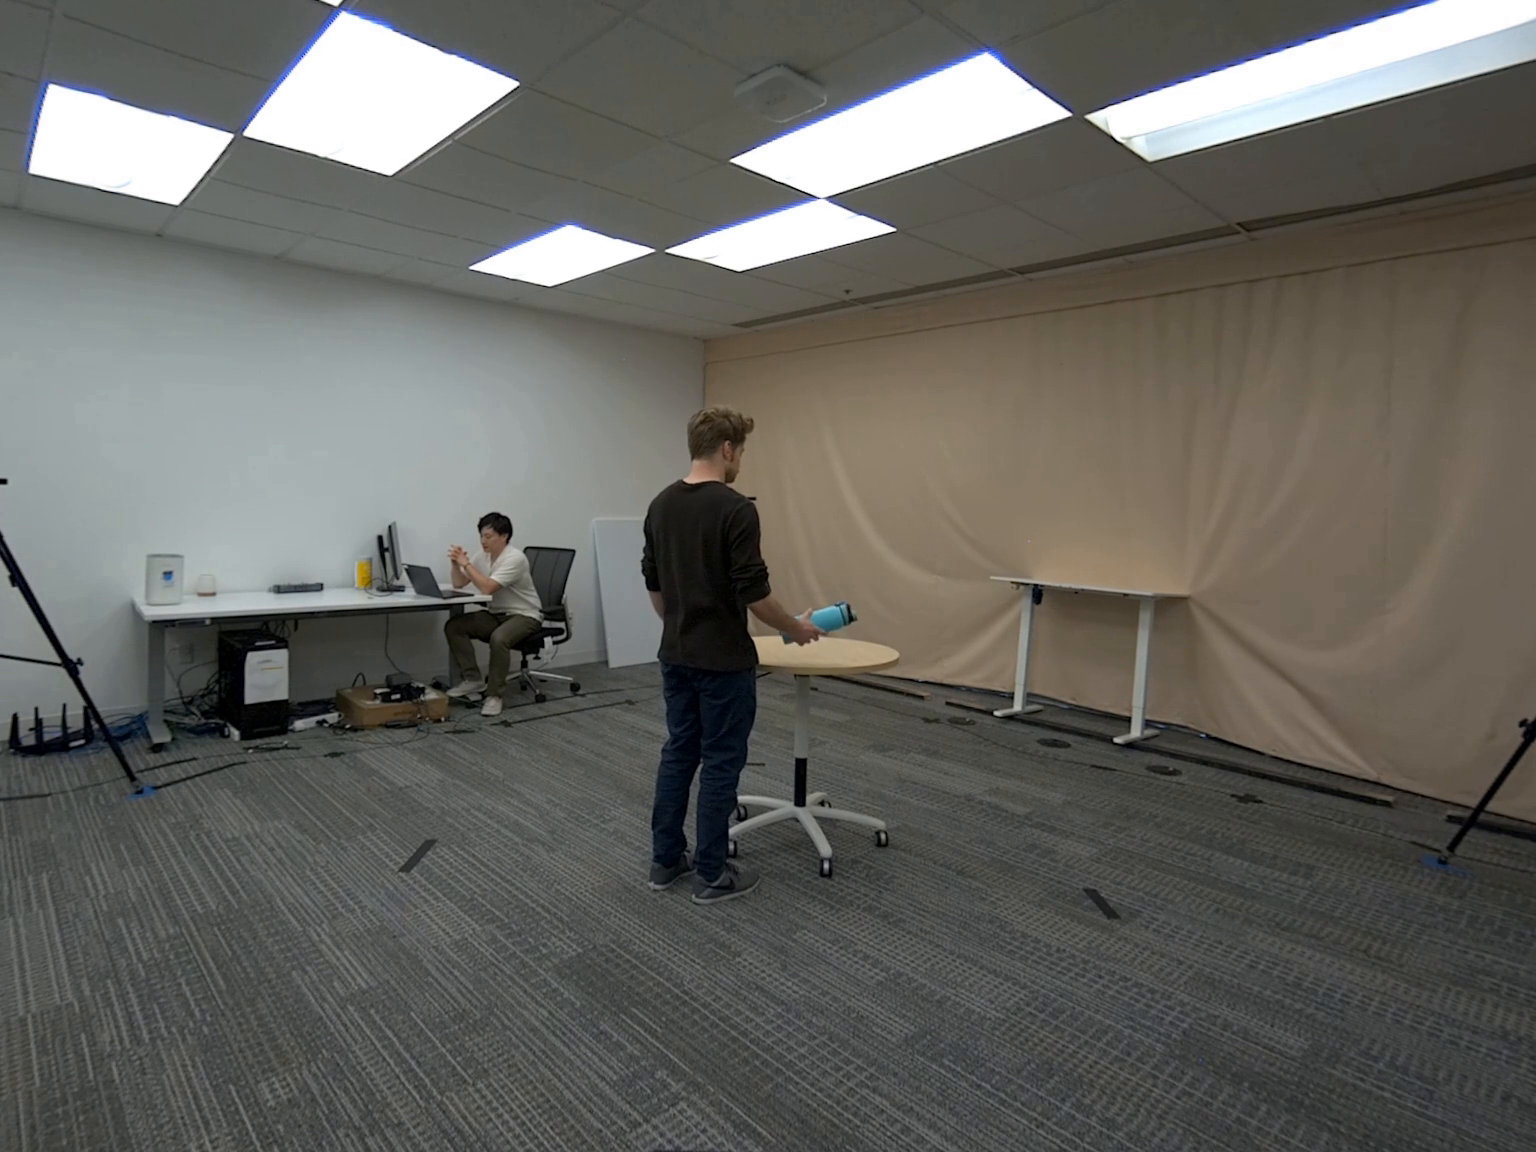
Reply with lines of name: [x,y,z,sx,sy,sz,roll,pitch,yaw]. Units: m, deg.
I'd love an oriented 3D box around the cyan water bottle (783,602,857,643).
cyan water bottle: [0.175,0.150,3.091,0.283,0.092,0.093,-18,6,-2]
